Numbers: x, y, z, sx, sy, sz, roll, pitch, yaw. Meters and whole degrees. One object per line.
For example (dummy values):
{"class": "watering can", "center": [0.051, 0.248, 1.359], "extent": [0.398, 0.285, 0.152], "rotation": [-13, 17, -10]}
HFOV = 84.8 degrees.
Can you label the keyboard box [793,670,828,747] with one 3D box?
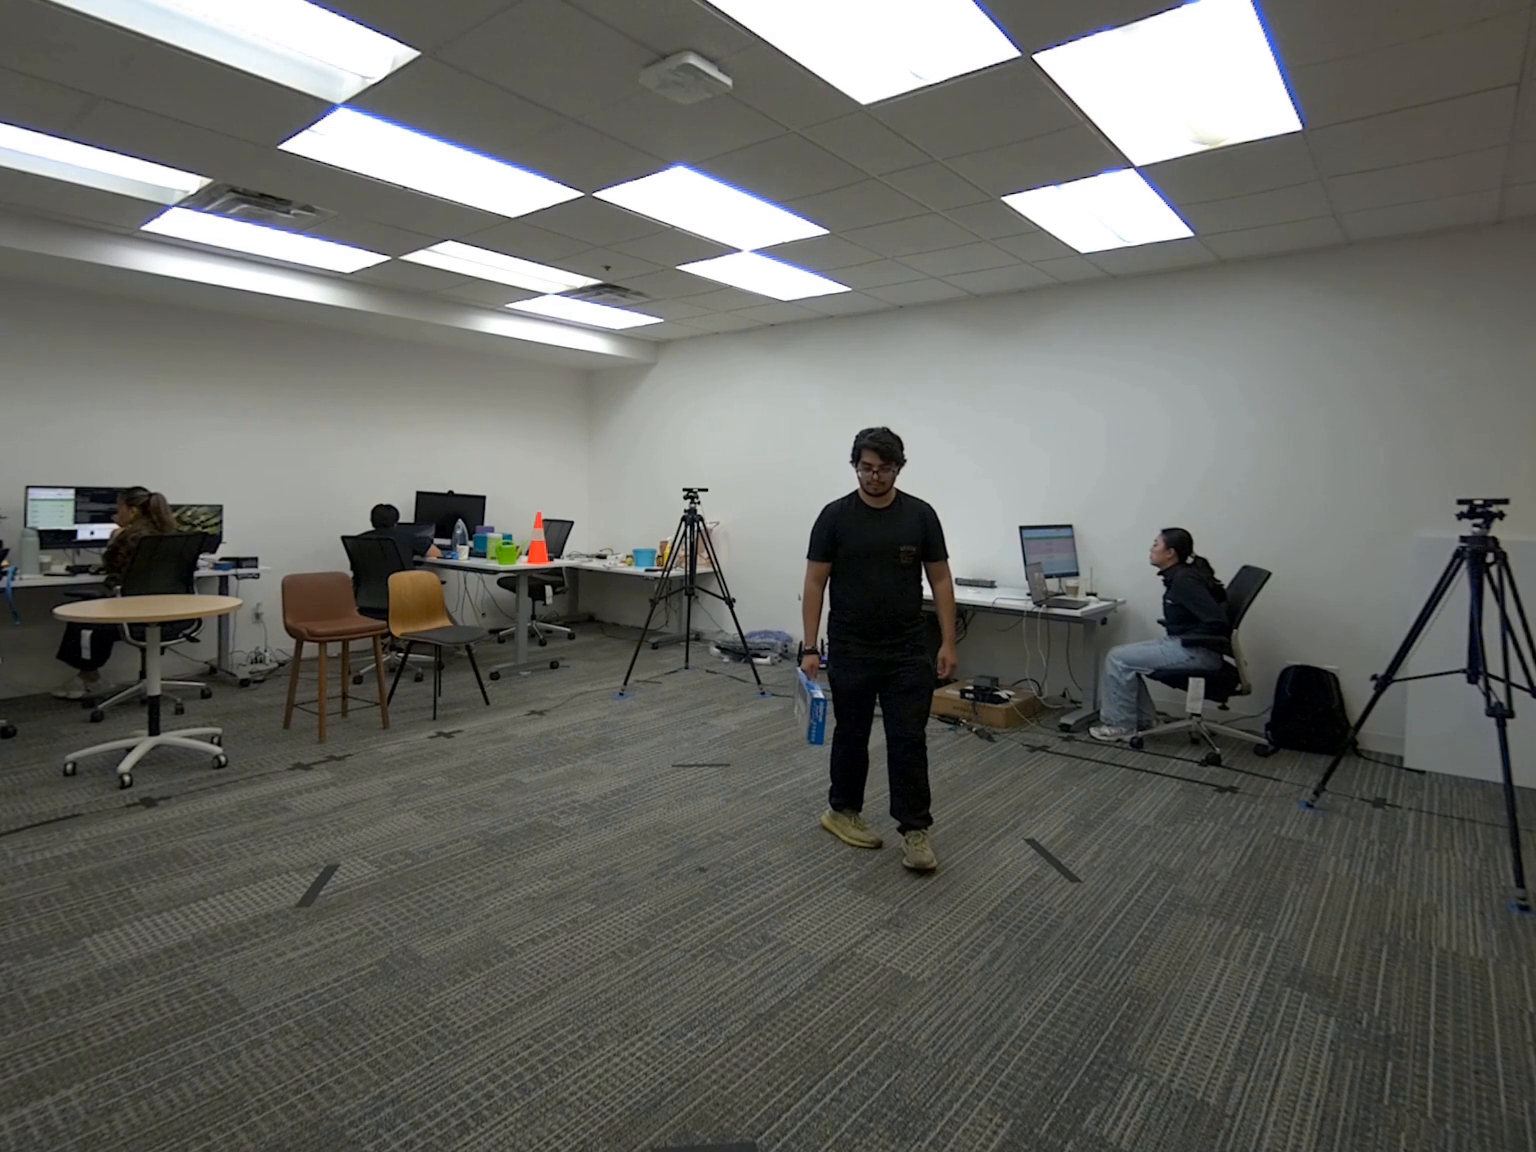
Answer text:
{"class": "keyboard box", "center": [0.153, 0.481, 3.265], "extent": [0.059, 0.175, 0.441], "rotation": [3, 7, -6]}
